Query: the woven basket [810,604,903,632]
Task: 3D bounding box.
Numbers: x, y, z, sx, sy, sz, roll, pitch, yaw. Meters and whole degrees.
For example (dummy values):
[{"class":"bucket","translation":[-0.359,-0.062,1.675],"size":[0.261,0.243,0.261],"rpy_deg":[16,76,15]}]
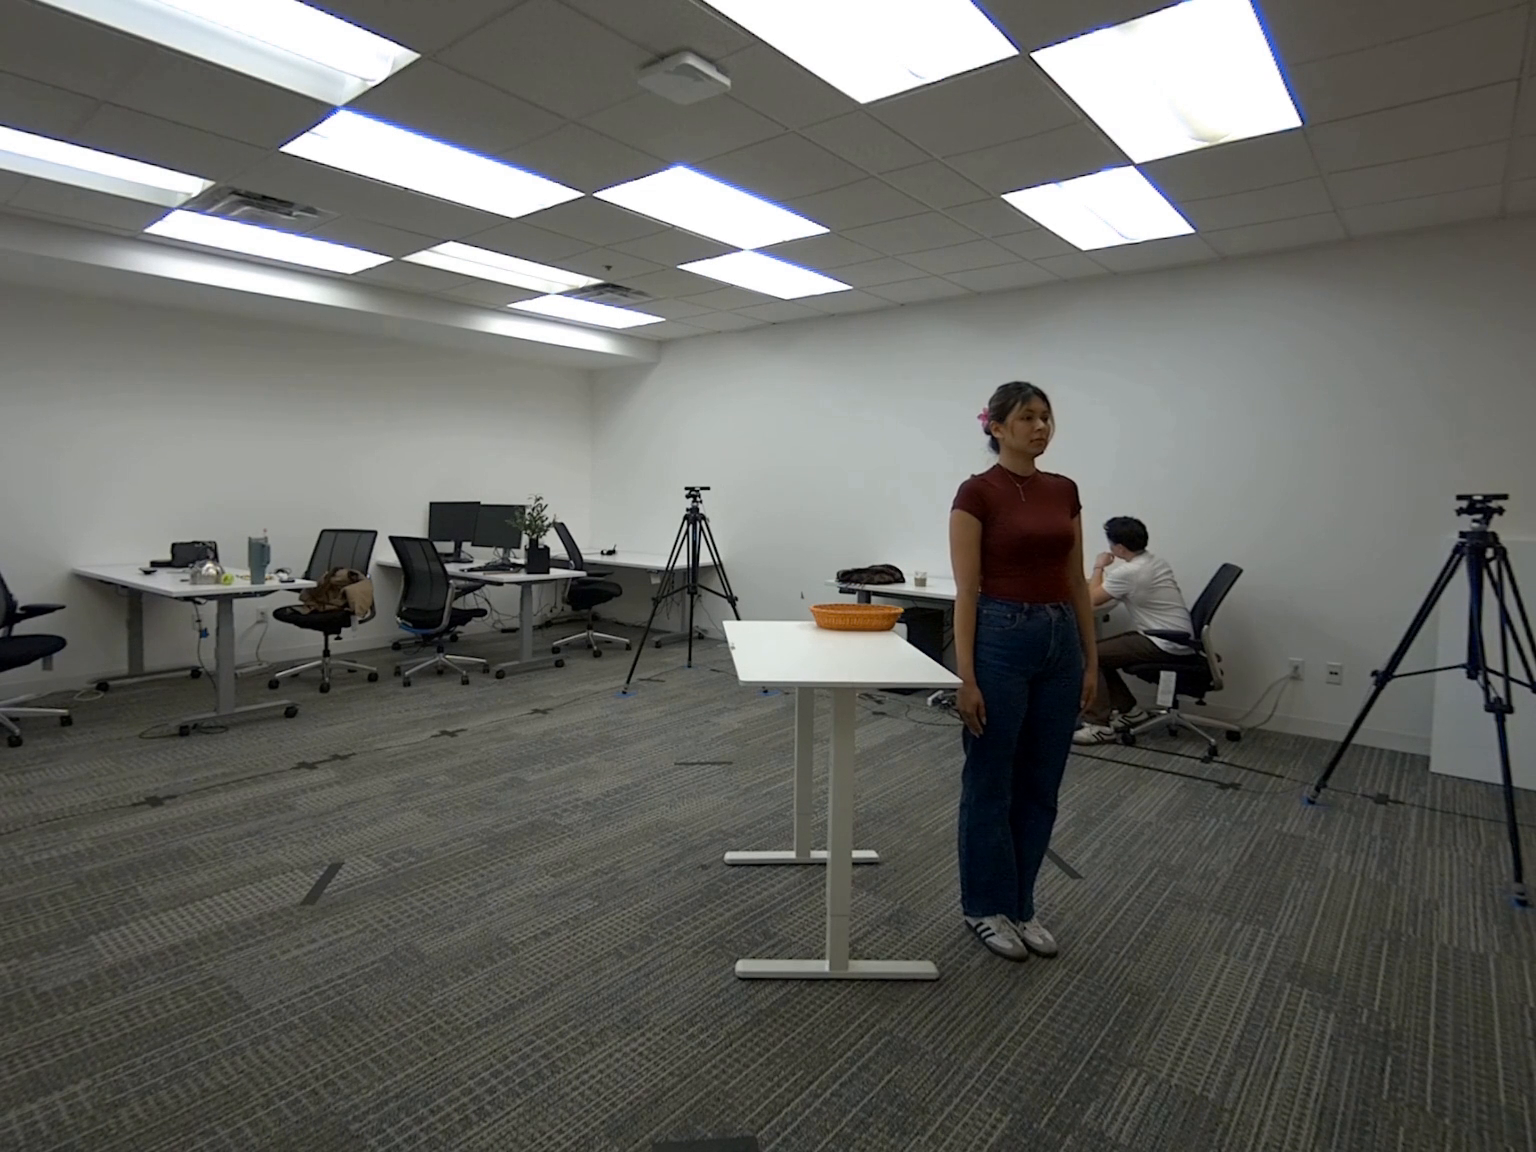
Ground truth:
[{"class":"woven basket","translation":[0.319,0.153,3.143],"size":[0.354,0.073,0.251],"rpy_deg":[1,5,8]}]
